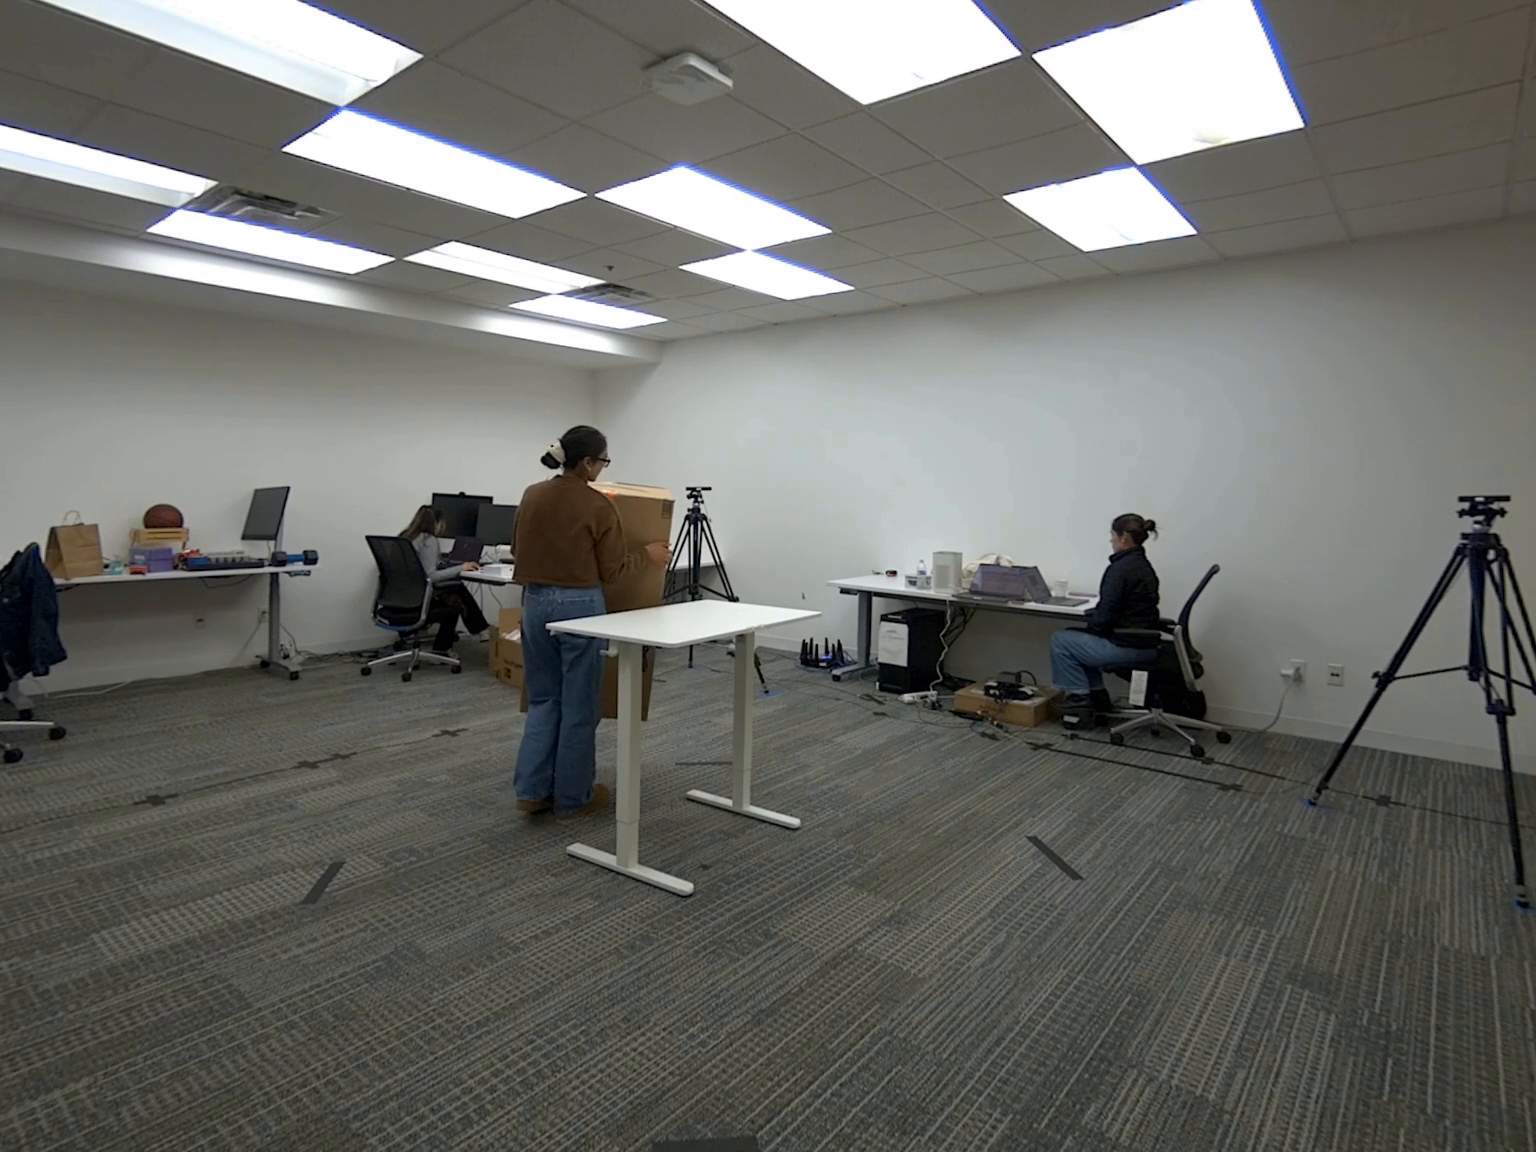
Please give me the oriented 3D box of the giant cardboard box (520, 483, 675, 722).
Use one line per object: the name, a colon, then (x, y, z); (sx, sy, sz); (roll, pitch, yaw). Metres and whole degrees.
giant cardboard box: (-0.806, 0.098, 3.940); (0.571, 1.018, 0.434); (6, 9, -10)
